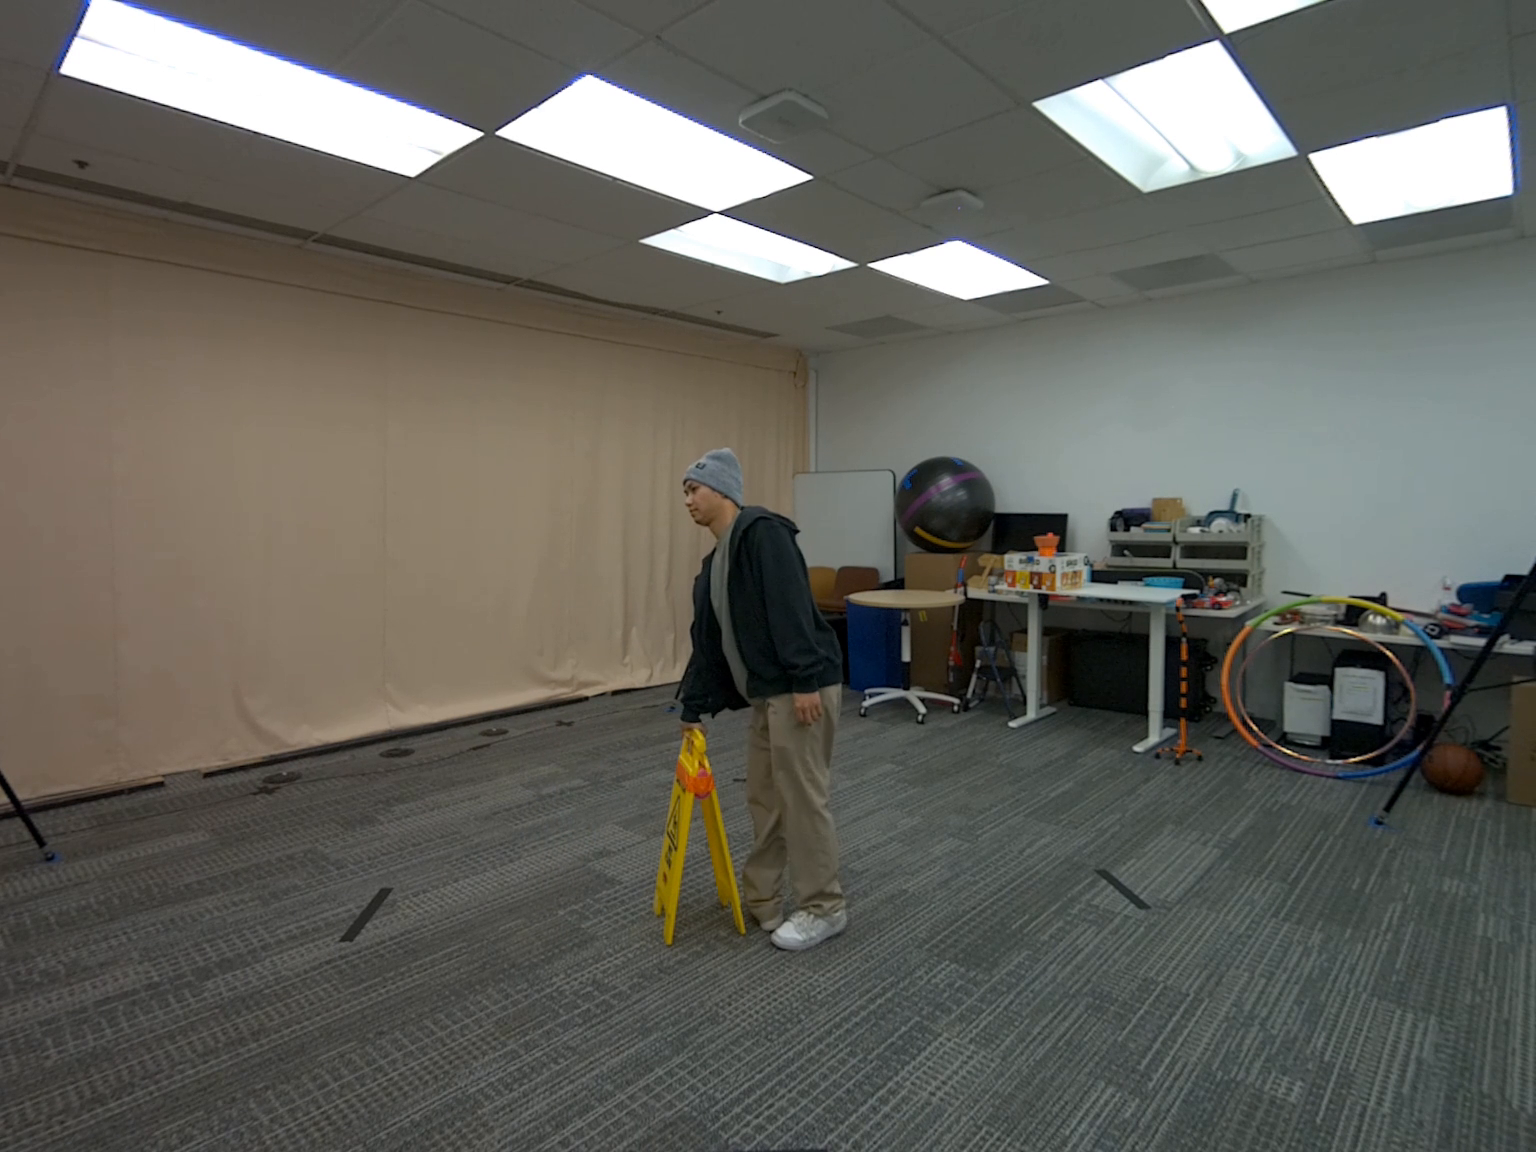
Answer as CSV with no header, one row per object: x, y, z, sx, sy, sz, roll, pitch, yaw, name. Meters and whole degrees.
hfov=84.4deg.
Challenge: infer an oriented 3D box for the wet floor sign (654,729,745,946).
-0.241,0.833,2.810,0.285,0.645,0.287,-2,2,-17,wet floor sign
